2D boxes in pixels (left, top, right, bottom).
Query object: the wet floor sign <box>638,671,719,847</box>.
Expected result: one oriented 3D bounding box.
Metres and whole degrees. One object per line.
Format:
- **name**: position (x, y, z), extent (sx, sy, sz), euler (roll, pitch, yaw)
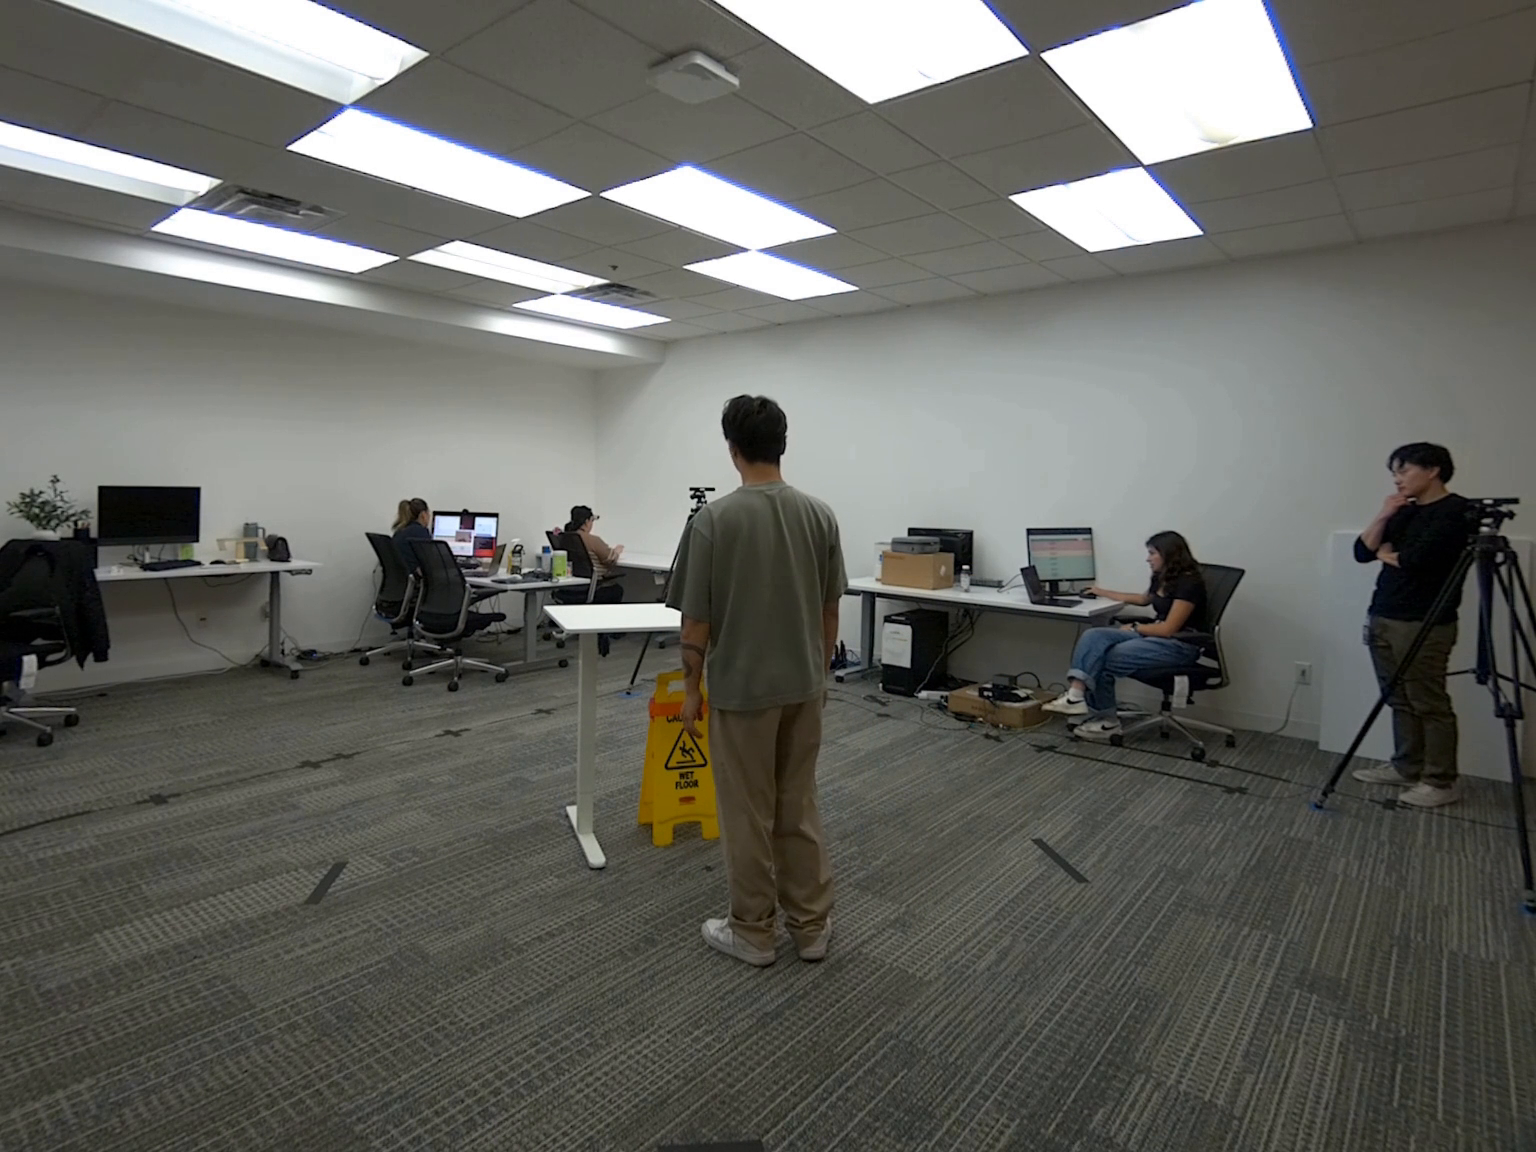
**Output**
- **wet floor sign**: position (-0.363, 0.716, 3.450), extent (0.276, 0.645, 0.296), euler (3, 1, -22)
